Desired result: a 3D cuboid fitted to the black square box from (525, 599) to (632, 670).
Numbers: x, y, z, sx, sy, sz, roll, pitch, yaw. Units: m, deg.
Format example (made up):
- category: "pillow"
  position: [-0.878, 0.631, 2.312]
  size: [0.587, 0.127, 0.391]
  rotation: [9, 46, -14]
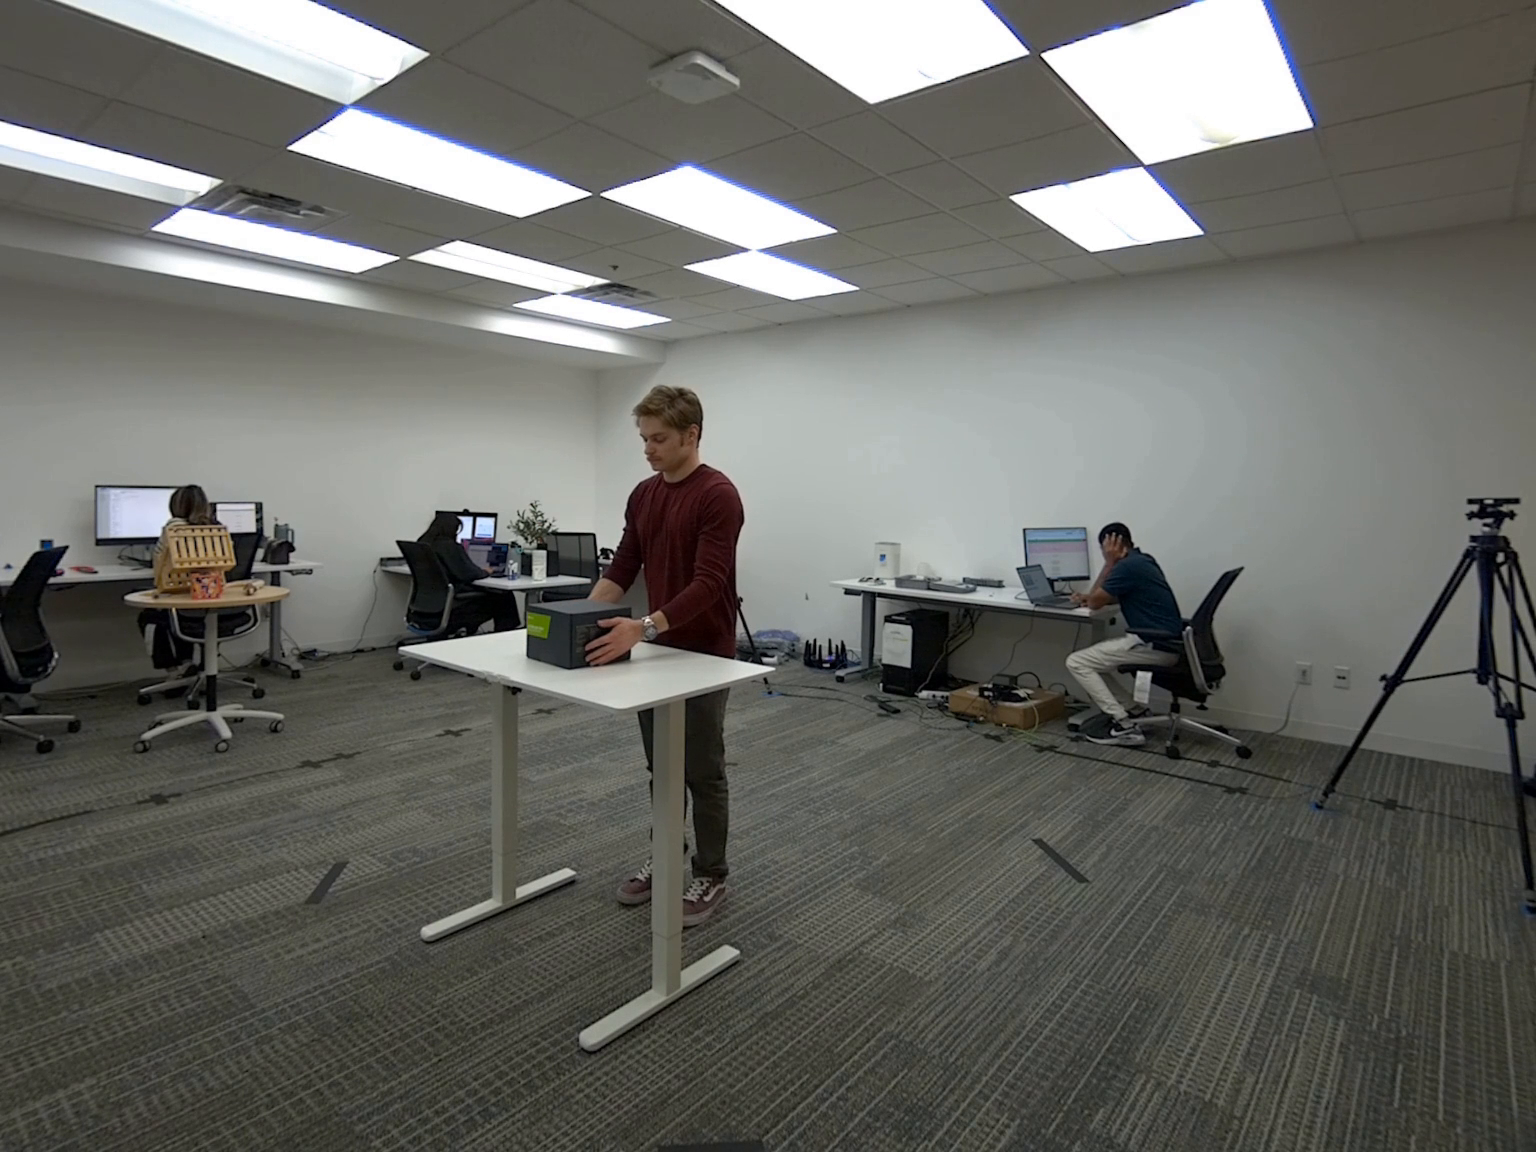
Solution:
- category: "black square box"
  position: [-0.573, 0.163, 2.478]
  size: [0.210, 0.155, 0.236]
  rotation: [-4, 7, -42]
